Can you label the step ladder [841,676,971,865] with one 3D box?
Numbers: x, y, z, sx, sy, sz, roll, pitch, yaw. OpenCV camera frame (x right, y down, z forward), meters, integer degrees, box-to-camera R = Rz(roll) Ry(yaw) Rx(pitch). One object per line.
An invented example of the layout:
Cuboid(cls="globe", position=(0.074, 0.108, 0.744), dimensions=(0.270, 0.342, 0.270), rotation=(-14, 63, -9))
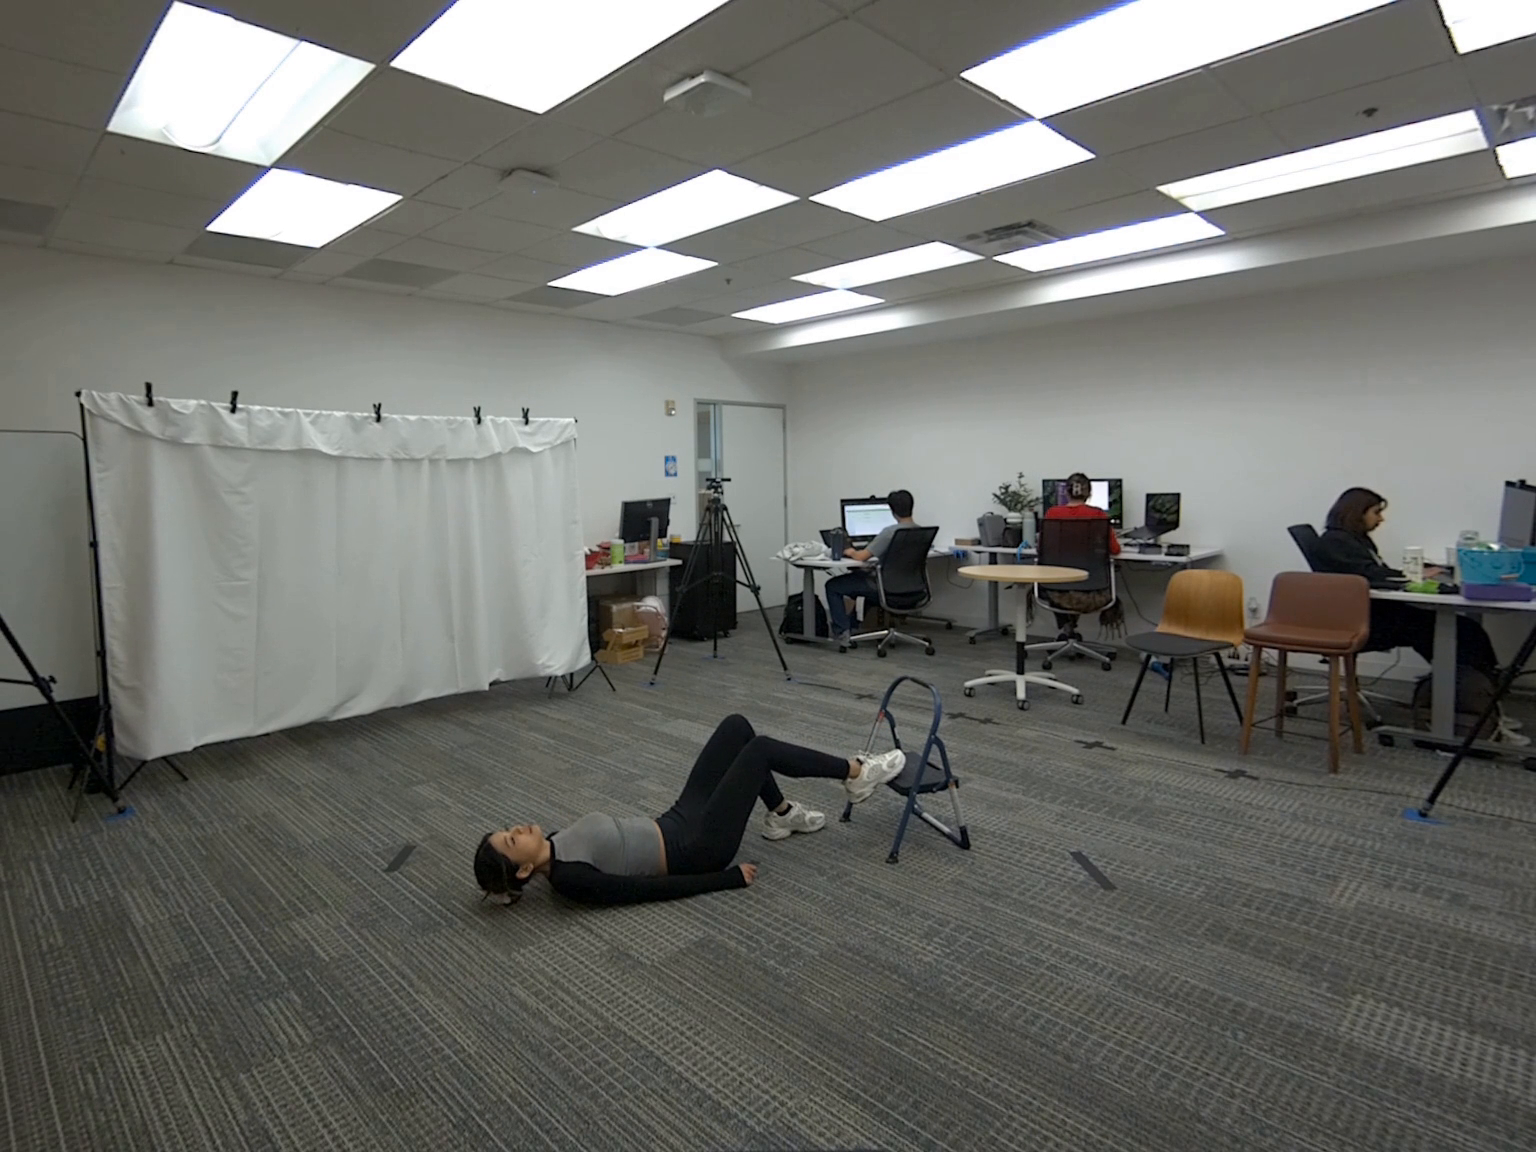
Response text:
Cuboid(cls="step ladder", position=(0.523, 0.708, 3.316), dimensions=(0.343, 0.604, 0.440), rotation=(-3, 5, -20))
